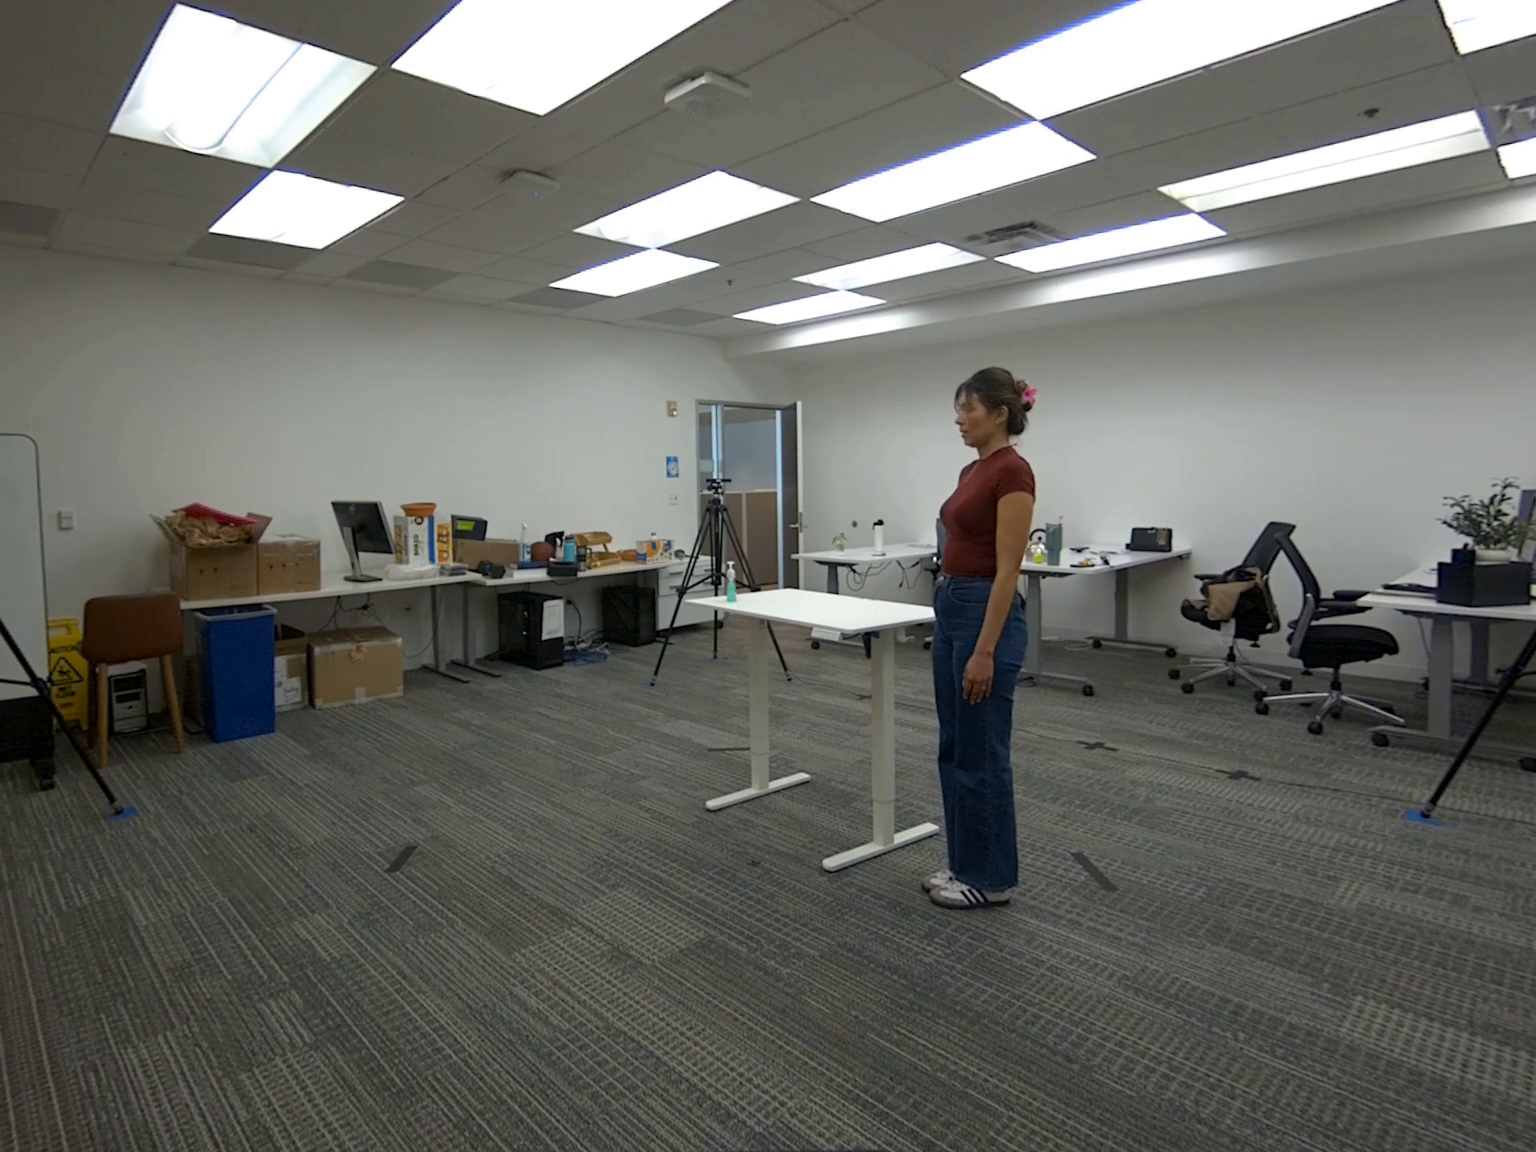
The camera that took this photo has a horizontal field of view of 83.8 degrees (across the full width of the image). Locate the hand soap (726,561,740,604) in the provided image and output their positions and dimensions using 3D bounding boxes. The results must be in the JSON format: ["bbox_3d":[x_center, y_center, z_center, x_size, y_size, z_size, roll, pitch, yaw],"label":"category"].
[{"bbox_3d":[-0.149,0.024,3.619,0.043,0.168,0.085,-3,3,0],"label":"hand soap"}]
